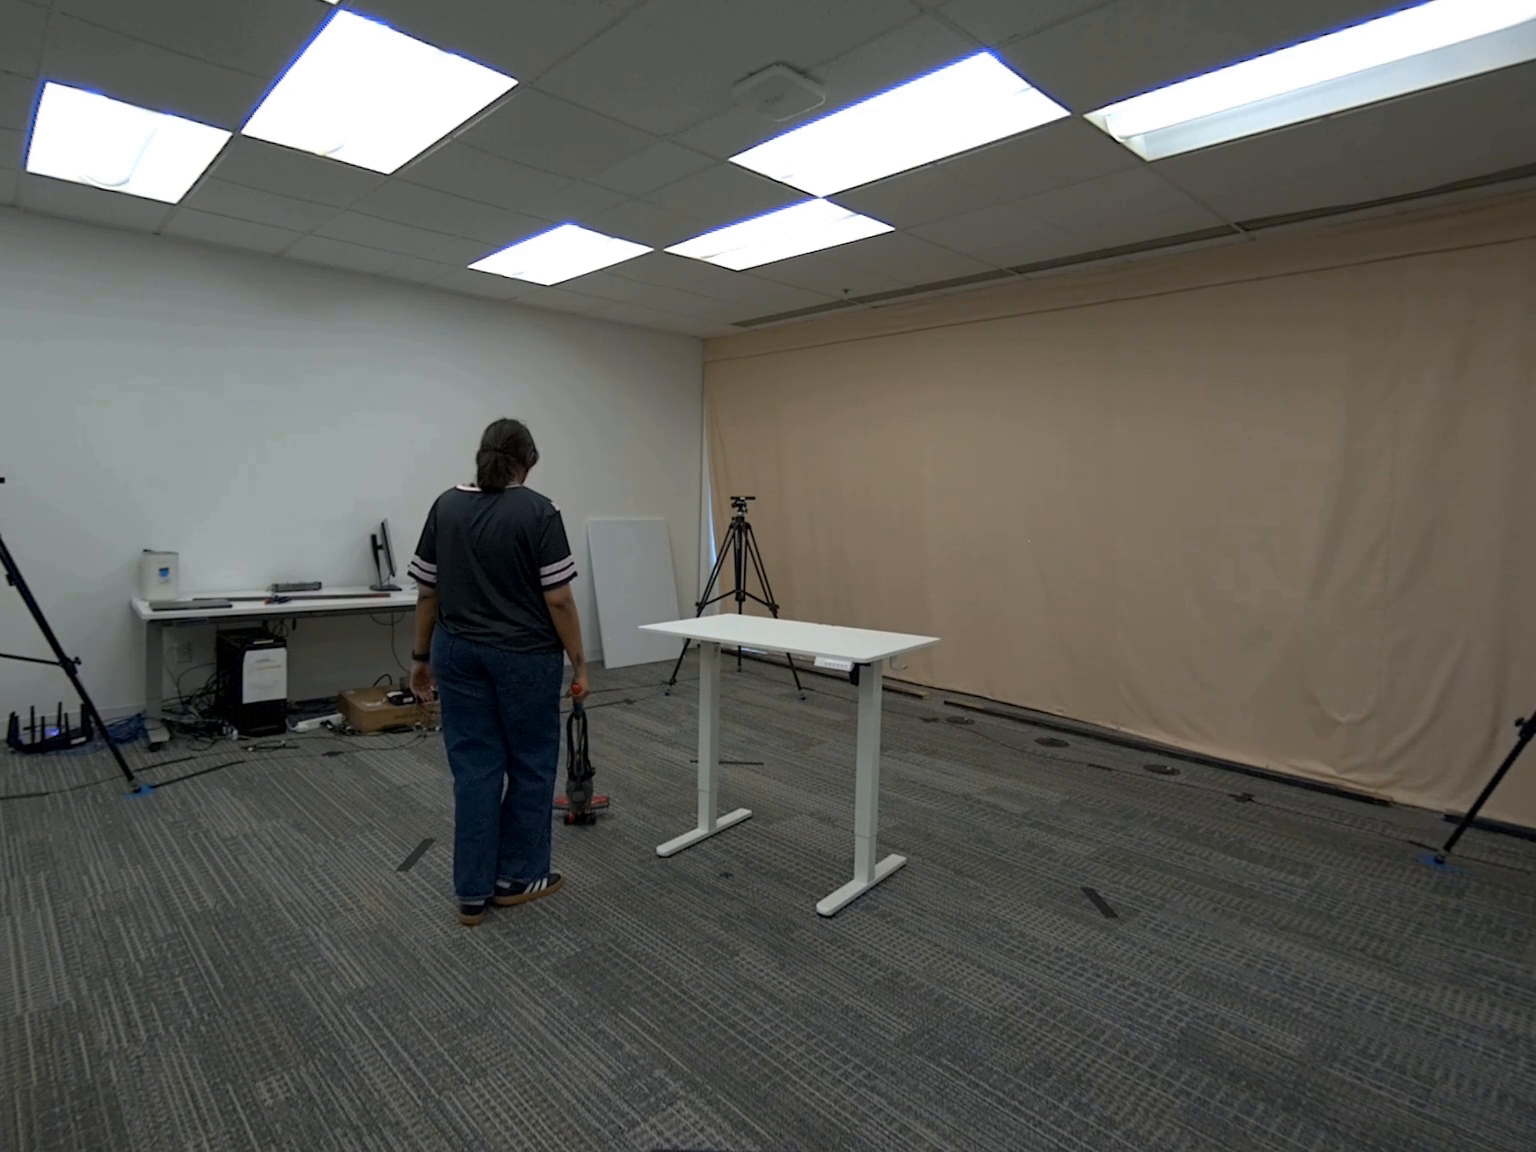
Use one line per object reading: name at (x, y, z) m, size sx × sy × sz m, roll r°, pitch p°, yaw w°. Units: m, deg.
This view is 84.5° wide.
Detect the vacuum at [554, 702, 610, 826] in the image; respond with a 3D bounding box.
vacuum at (-0.728, 0.715, 3.217) m, size 0.250 × 0.147 × 1.033 m, roll 2°, pitch -37°, yaw -11°
